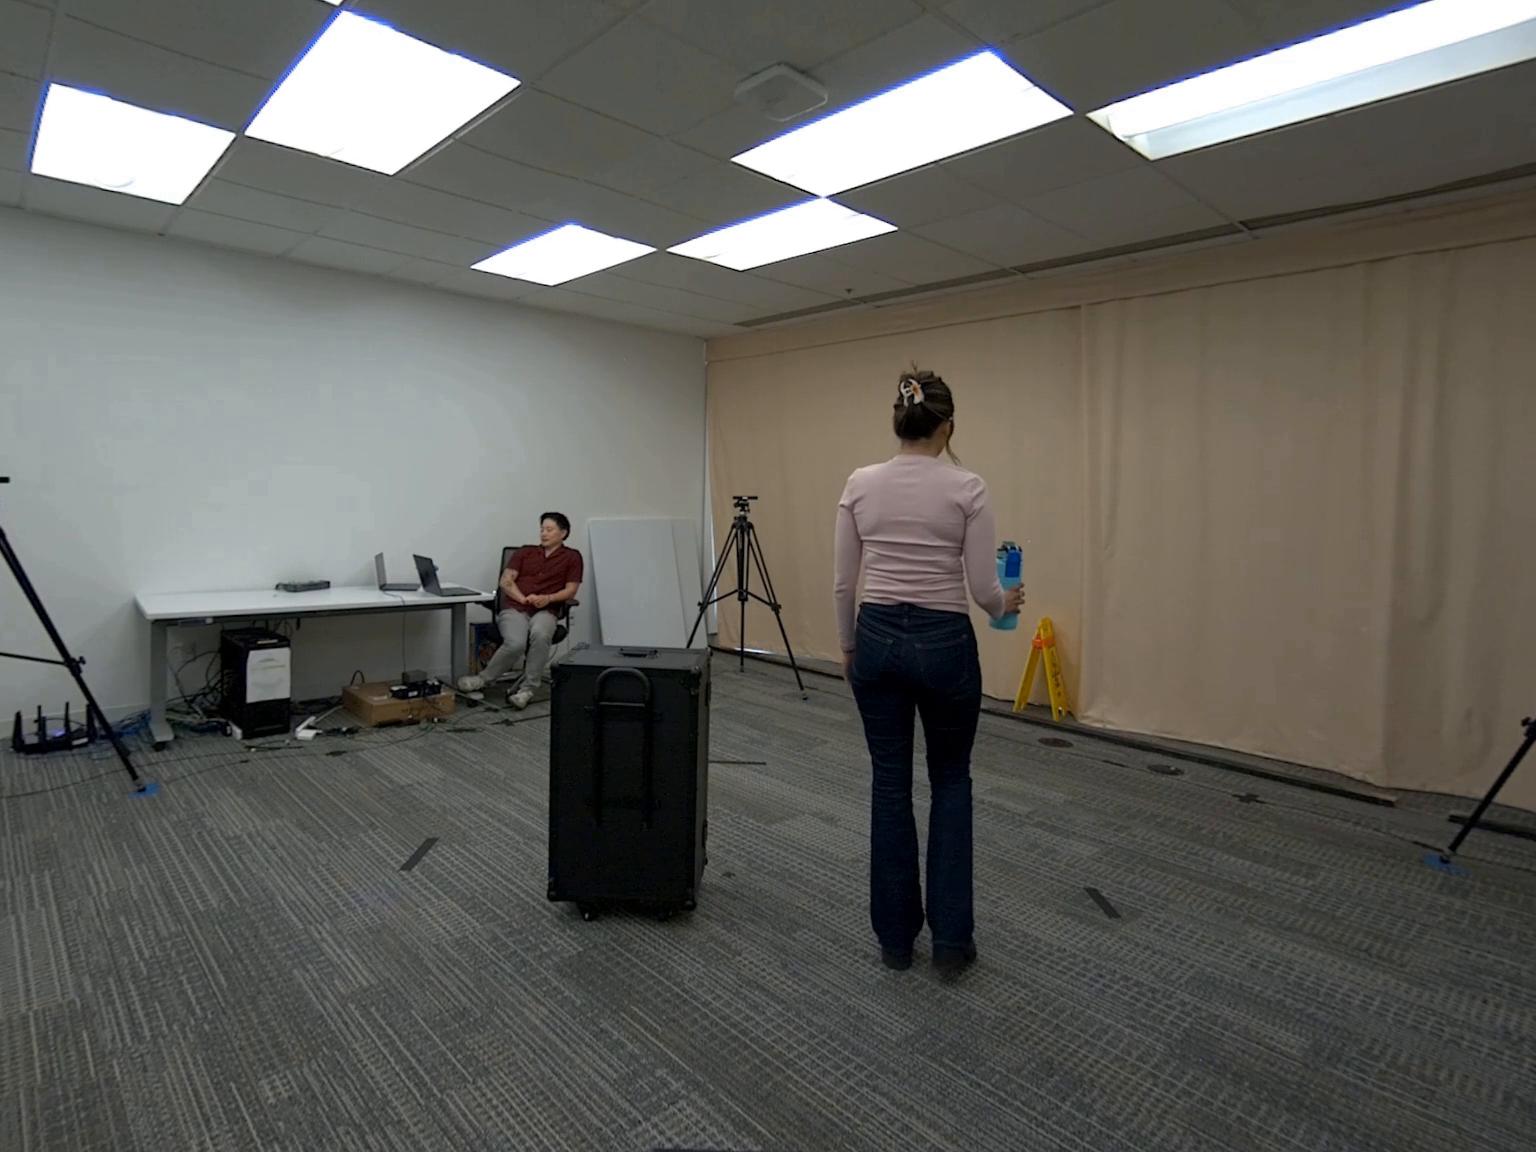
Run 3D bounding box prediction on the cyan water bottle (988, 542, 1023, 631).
[{"bbox_3d":[0.776,0.030,2.727,0.092,0.281,0.093,3,9,-2],"label":"cyan water bottle"}]
